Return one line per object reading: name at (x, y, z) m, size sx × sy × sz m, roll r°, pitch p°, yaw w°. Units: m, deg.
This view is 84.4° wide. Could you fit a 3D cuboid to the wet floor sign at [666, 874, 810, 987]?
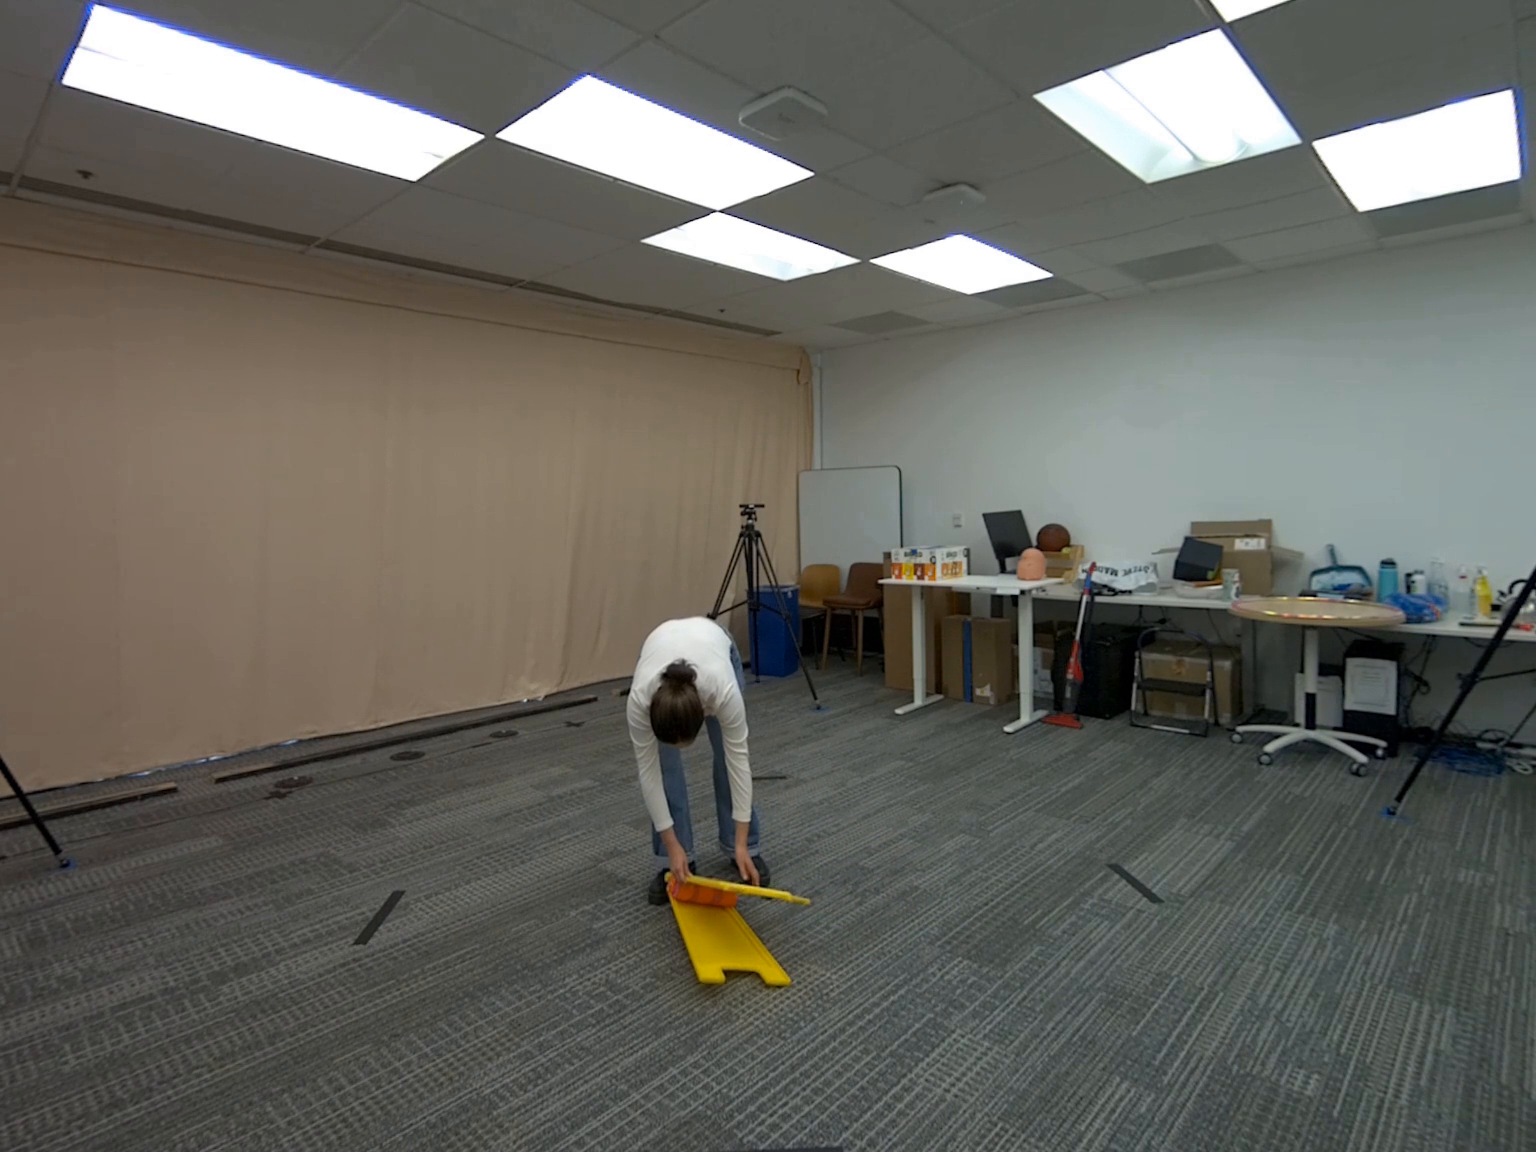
wet floor sign at (-0.154, 1.063, 2.721) m, size 0.276 × 0.291 × 0.657 m, roll 16°, pitch -11°, yaw -20°
